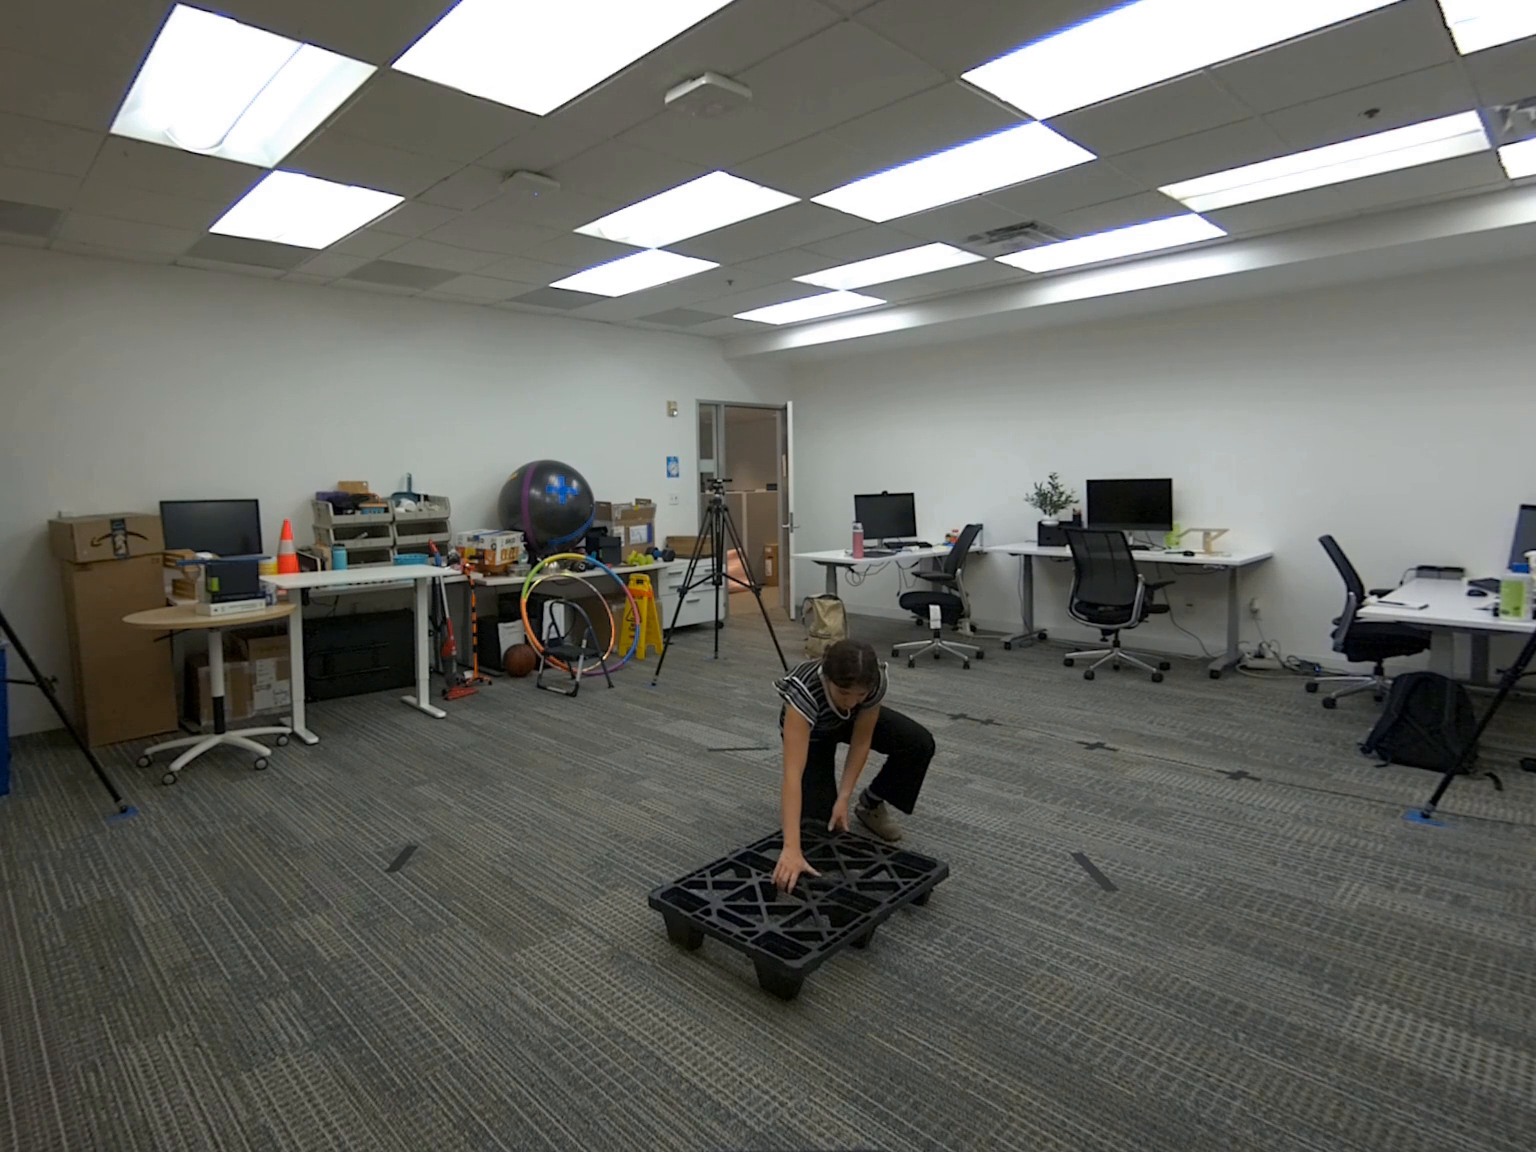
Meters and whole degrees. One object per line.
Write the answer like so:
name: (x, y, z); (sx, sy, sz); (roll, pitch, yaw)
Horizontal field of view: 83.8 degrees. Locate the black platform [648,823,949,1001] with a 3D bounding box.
black platform: (0.107, 1.024, 2.695); (0.624, 0.143, 0.785); (4, 8, 42)
